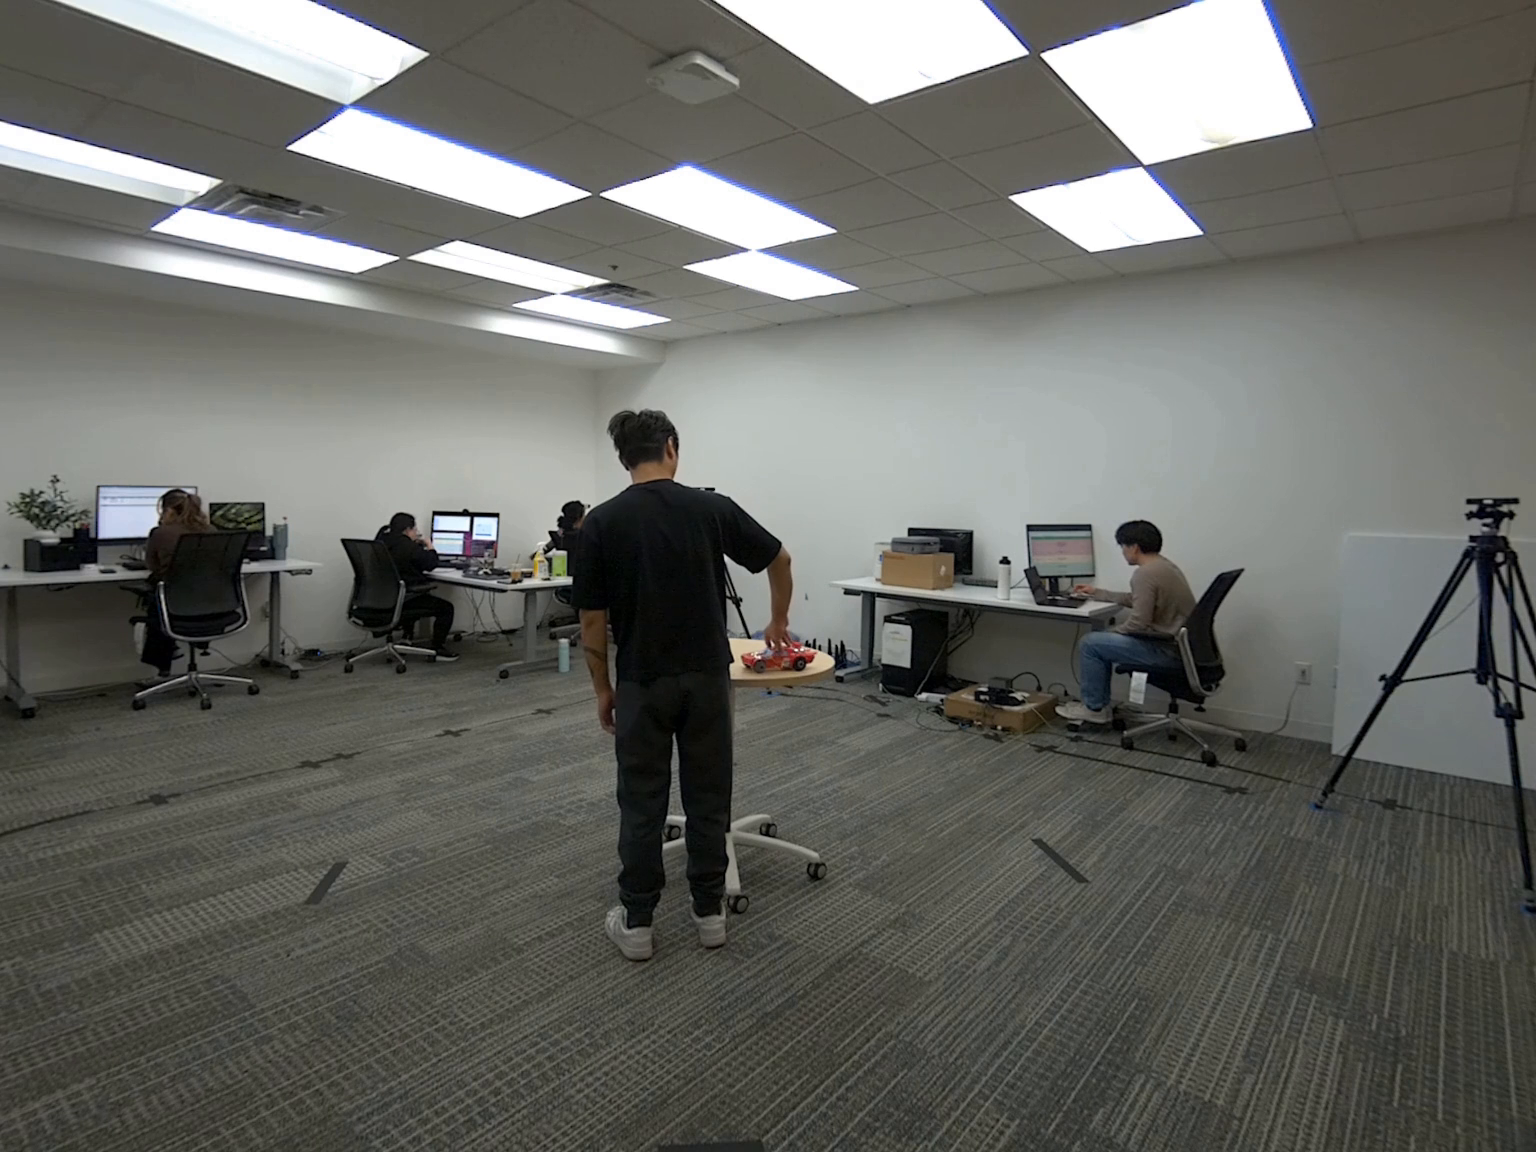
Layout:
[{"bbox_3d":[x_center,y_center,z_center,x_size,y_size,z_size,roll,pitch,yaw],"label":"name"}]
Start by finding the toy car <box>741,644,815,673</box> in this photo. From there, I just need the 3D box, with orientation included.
[{"bbox_3d":[0.034,0.282,2.885,0.251,0.082,0.133,-12,10,-19],"label":"toy car"}]
